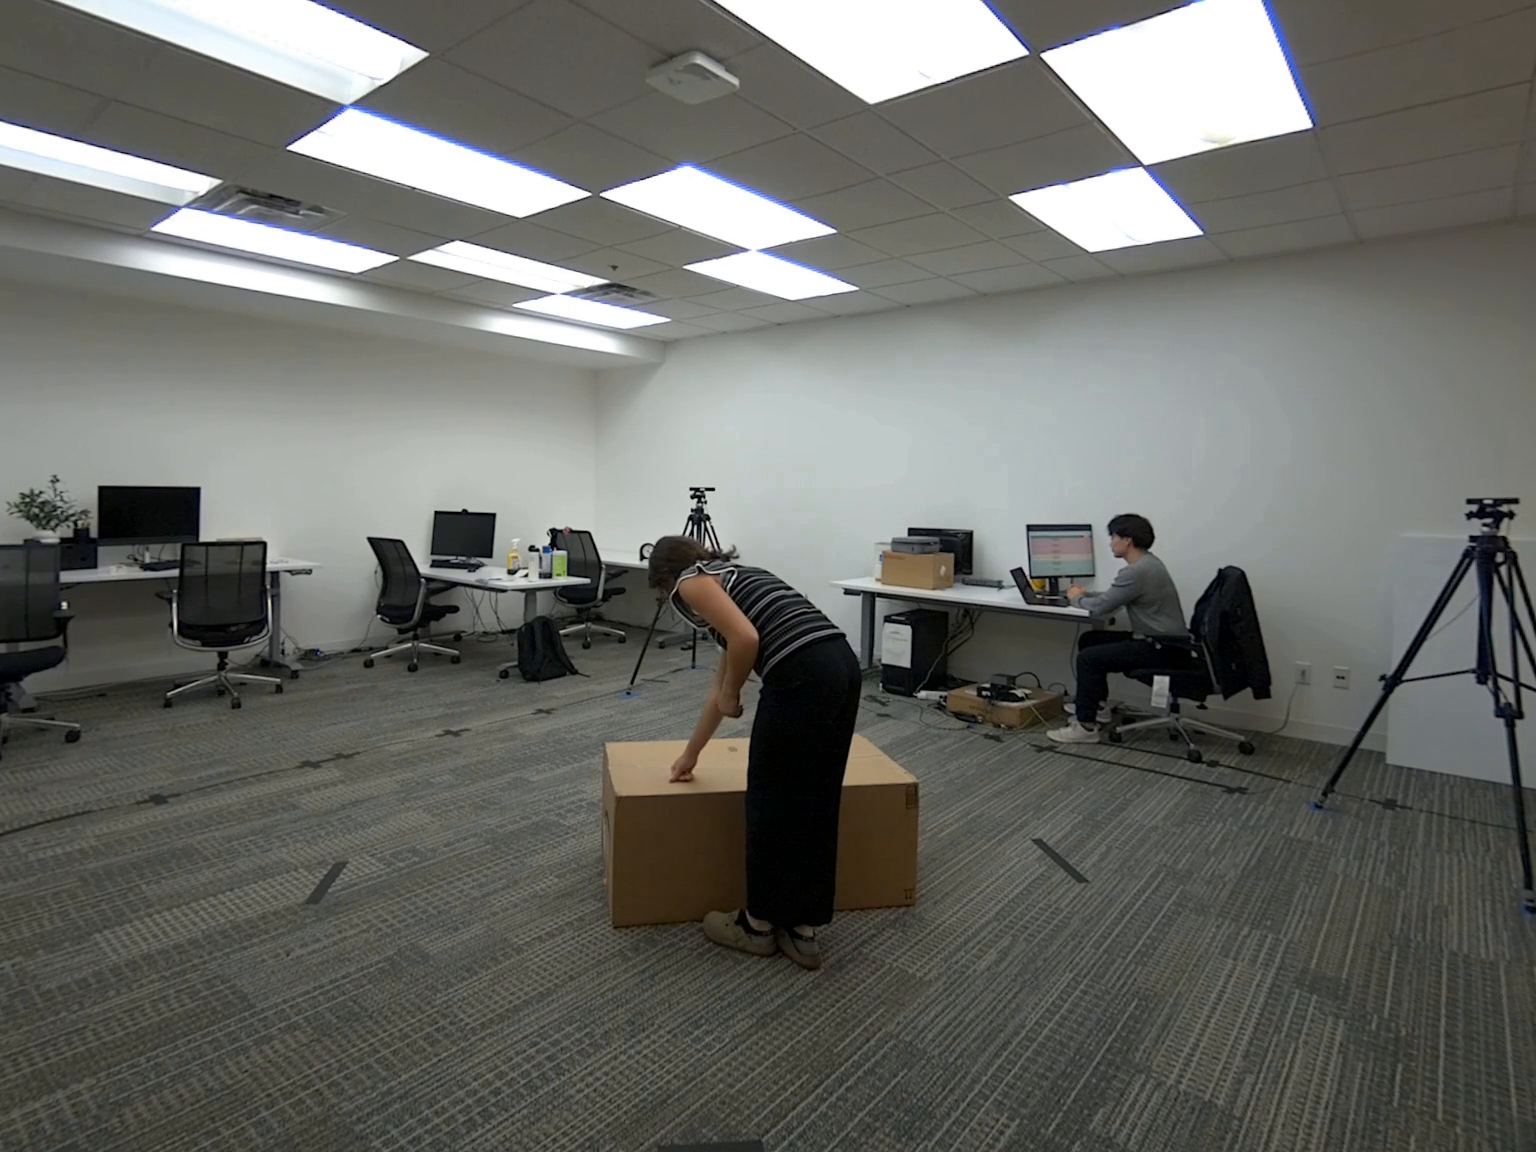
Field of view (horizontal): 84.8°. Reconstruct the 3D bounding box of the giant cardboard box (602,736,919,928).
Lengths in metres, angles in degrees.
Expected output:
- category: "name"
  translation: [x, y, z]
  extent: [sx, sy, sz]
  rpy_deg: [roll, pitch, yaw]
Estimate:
- category: "giant cardboard box"
  translation: [-0.068, 0.865, 3.035]
  extent: [1.013, 0.425, 0.587]
  rpy_deg: [0, 5, -12]
